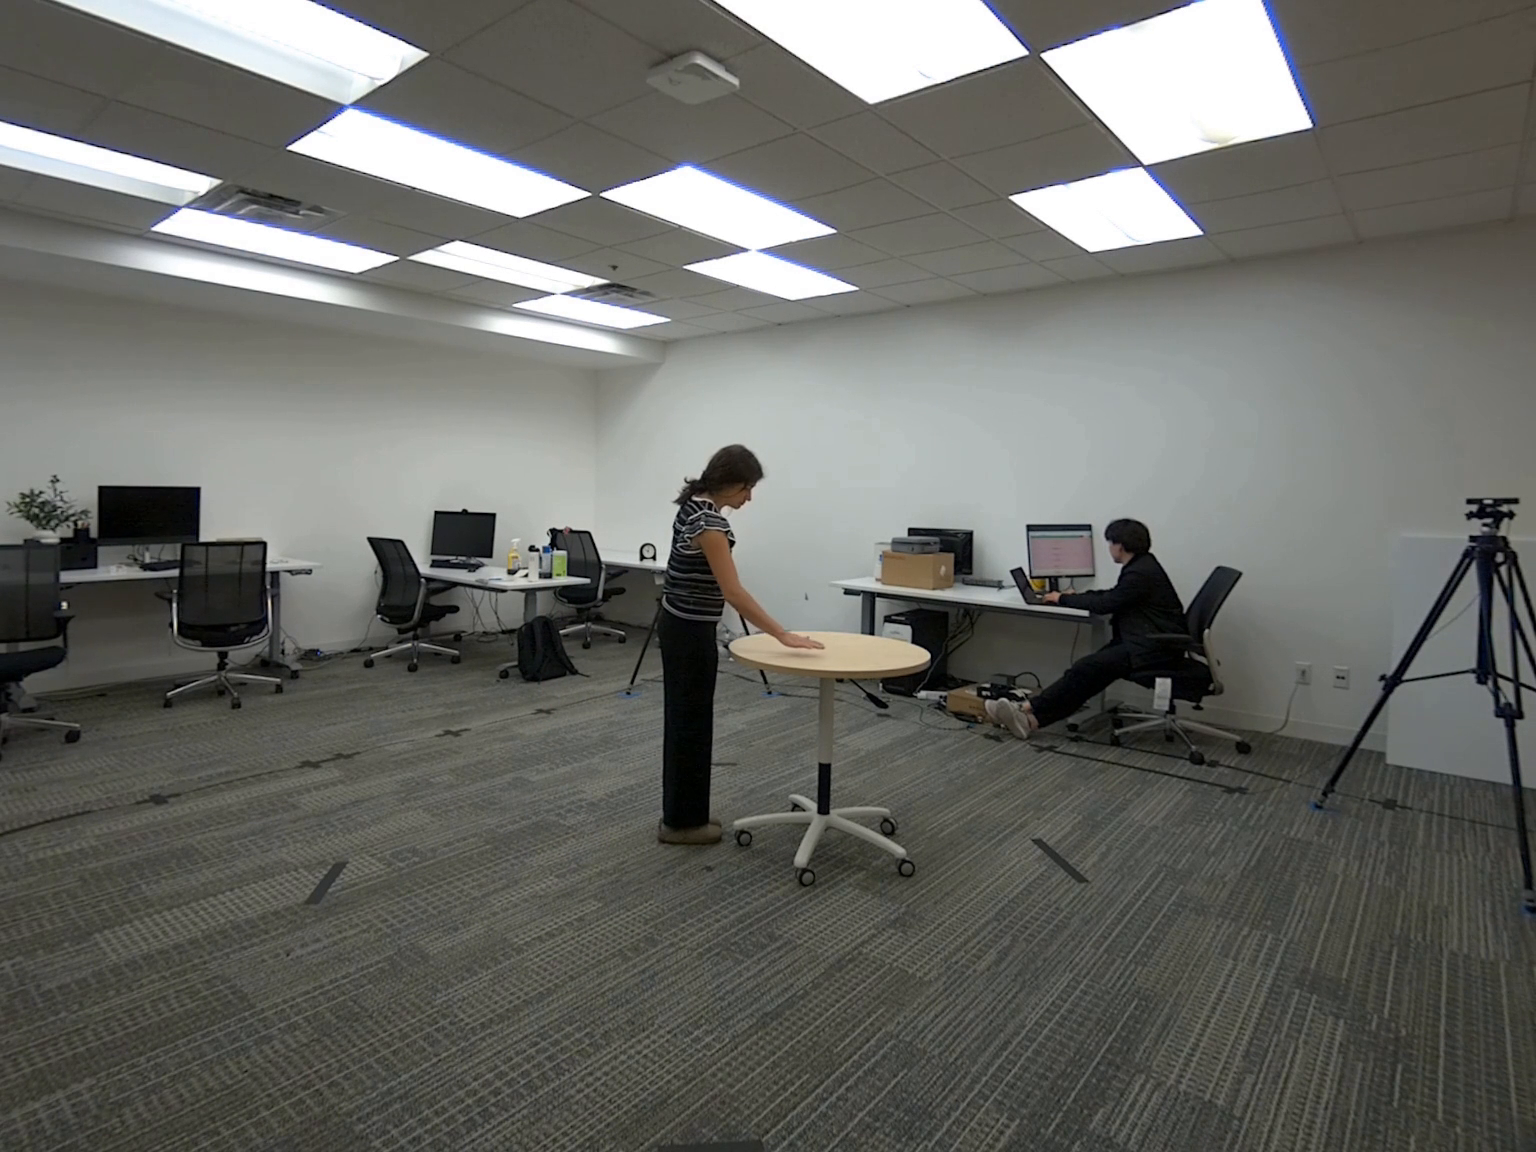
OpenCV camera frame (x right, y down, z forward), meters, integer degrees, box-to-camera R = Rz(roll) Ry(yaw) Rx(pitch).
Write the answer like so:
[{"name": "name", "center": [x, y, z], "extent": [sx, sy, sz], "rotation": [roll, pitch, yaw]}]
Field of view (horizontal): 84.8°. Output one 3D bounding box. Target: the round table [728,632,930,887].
[{"name": "round table", "center": [0.217, 0.671, 3.289], "extent": [0.763, 0.791, 0.768], "rotation": [1, 4, -2]}]
